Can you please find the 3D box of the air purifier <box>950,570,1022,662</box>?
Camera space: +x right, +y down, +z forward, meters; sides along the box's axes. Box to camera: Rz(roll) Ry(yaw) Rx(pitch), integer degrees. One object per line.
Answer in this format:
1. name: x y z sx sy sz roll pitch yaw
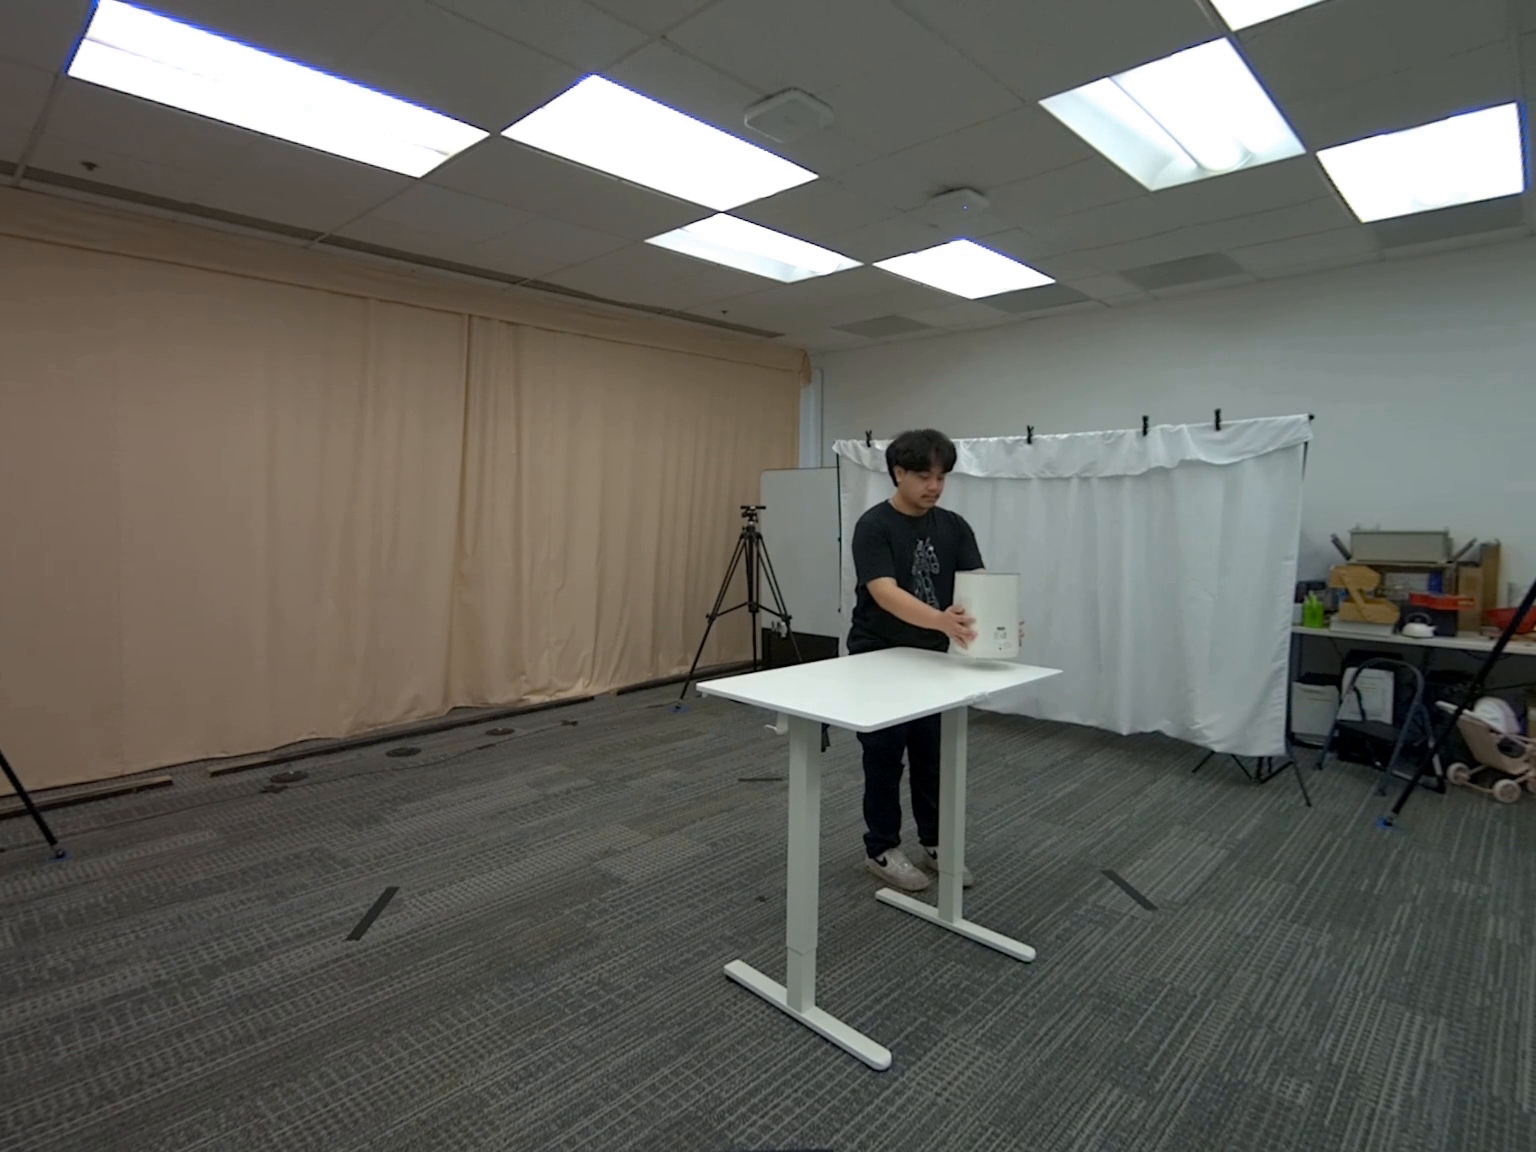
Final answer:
1. air purifier: 0.681 0.123 2.658 0.168 0.265 0.174 1 0 -15
